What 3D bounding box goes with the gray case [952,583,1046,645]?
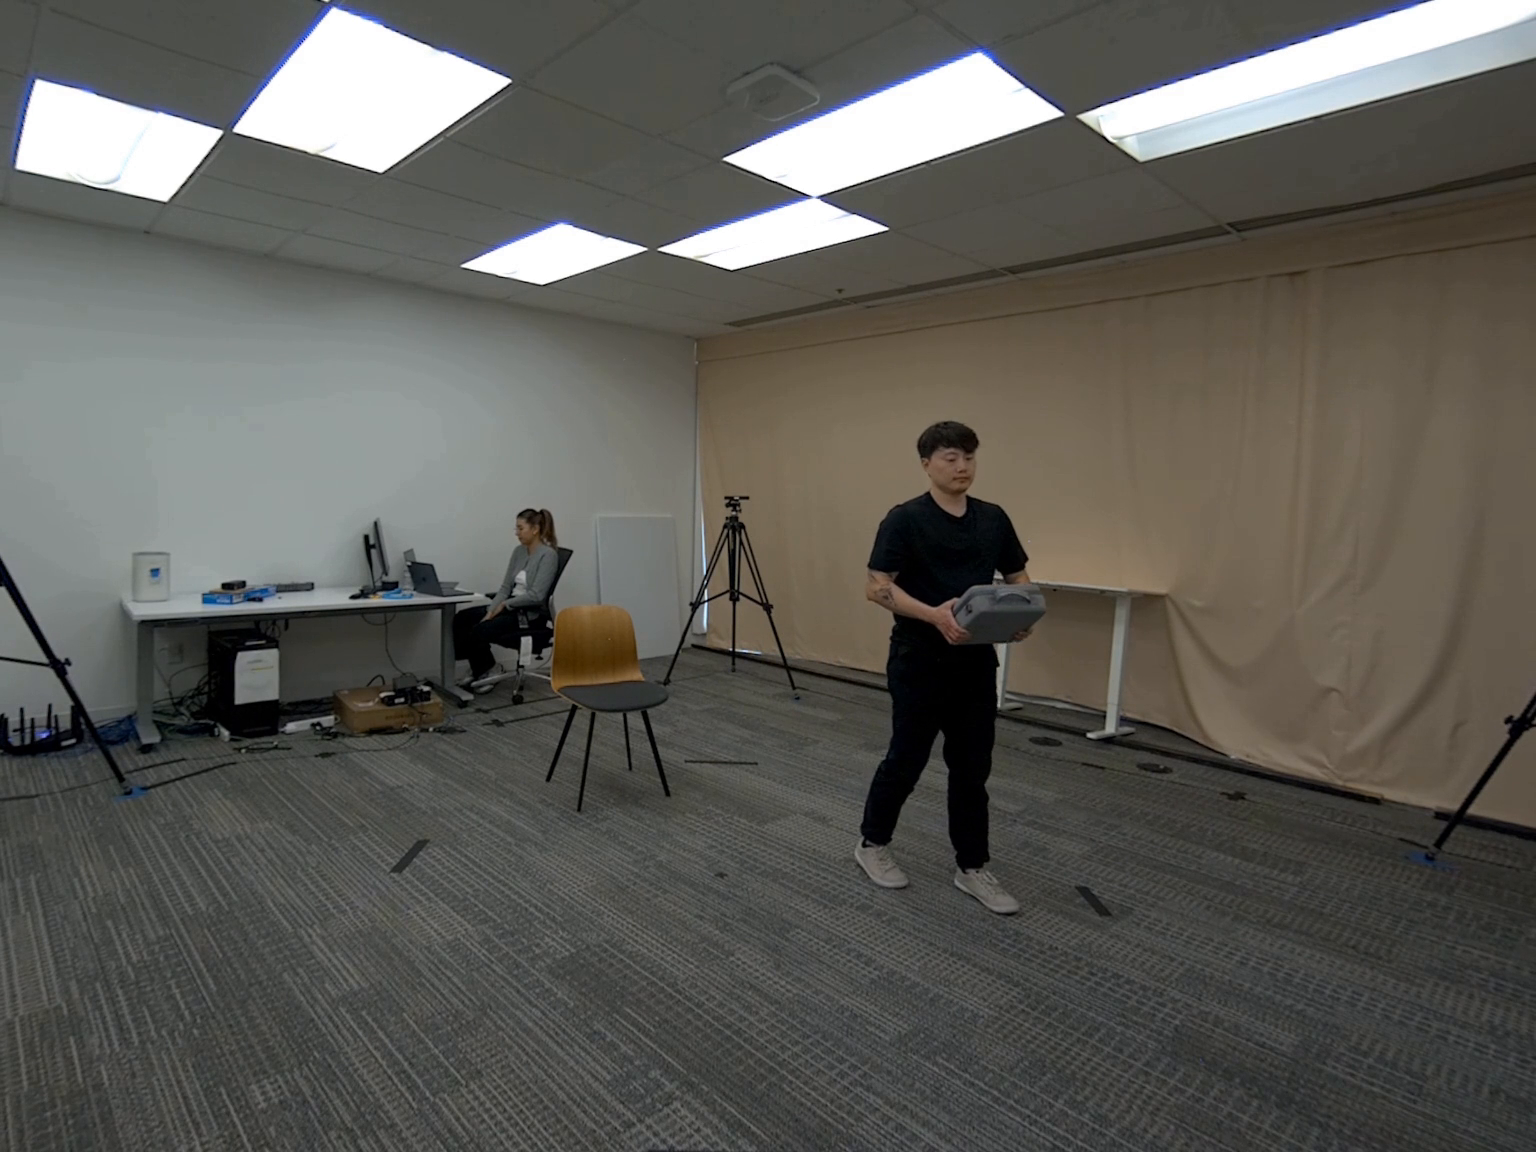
[{"bbox_3d":[0.712,0.120,2.709,0.254,0.106,0.258,1,-29,-14],"label":"gray case"}]
